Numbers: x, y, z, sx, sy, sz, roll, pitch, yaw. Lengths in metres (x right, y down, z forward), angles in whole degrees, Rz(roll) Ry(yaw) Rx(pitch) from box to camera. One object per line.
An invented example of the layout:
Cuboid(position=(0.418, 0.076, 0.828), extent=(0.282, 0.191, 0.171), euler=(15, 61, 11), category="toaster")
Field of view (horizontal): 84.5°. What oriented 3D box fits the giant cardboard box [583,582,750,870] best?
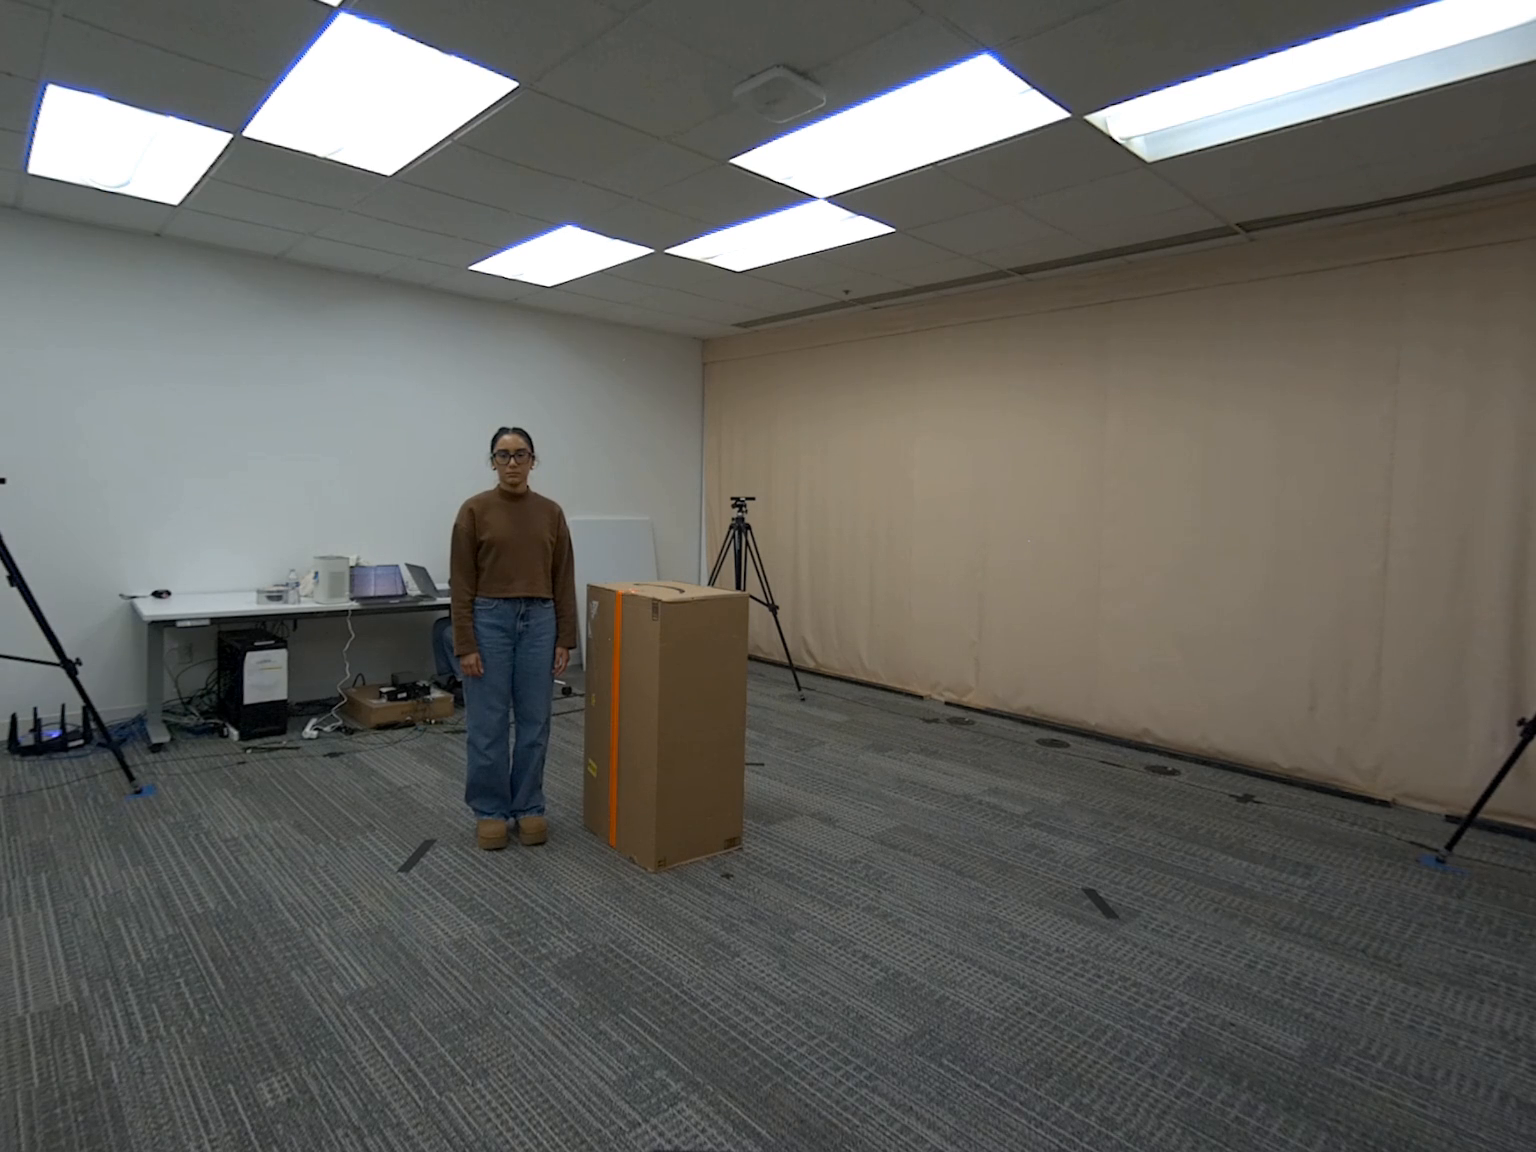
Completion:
Cuboid(position=(-0.436, 0.564, 3.432), extent=(0.416, 1.023, 0.592), euler=(-1, 5, -39), category="giant cardboard box")
